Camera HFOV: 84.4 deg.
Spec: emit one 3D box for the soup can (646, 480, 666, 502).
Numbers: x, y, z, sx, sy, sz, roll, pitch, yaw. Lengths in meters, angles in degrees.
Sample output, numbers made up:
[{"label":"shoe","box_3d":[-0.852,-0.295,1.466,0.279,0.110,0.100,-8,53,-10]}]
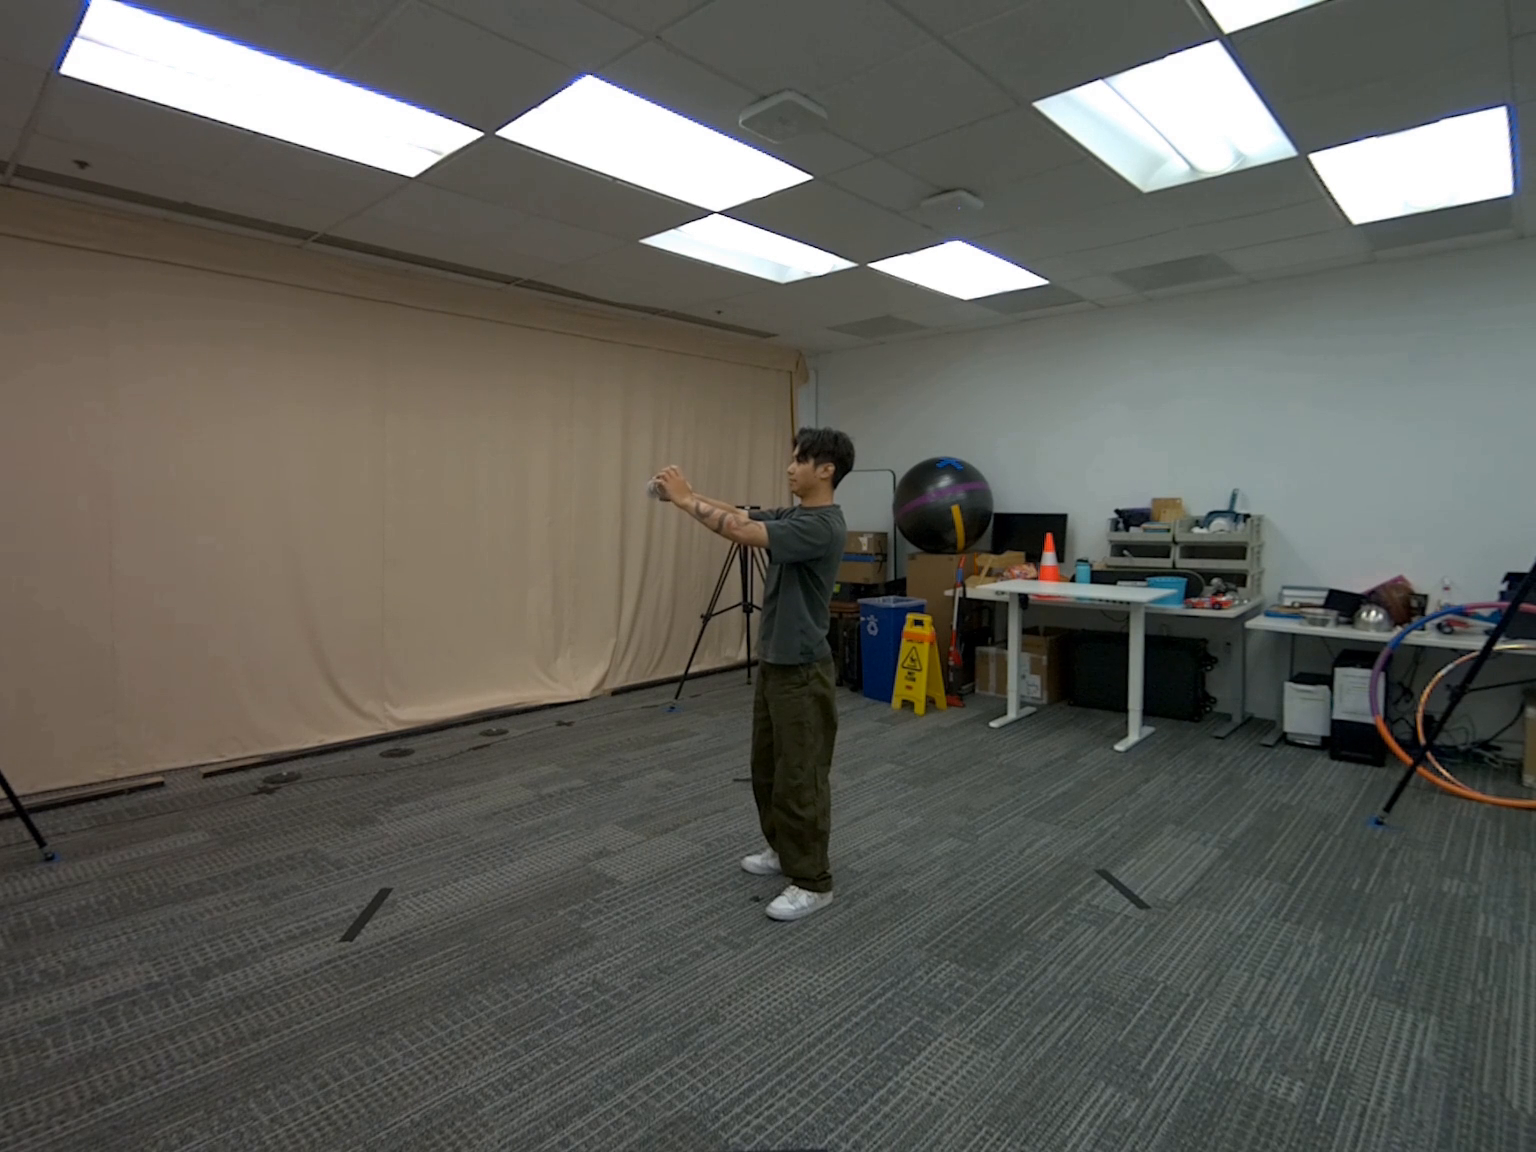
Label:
[{"label":"soup can","box_3d":[-0.375,-0.305,2.922,0.066,0.067,0.124,-1,3,-19]}]
